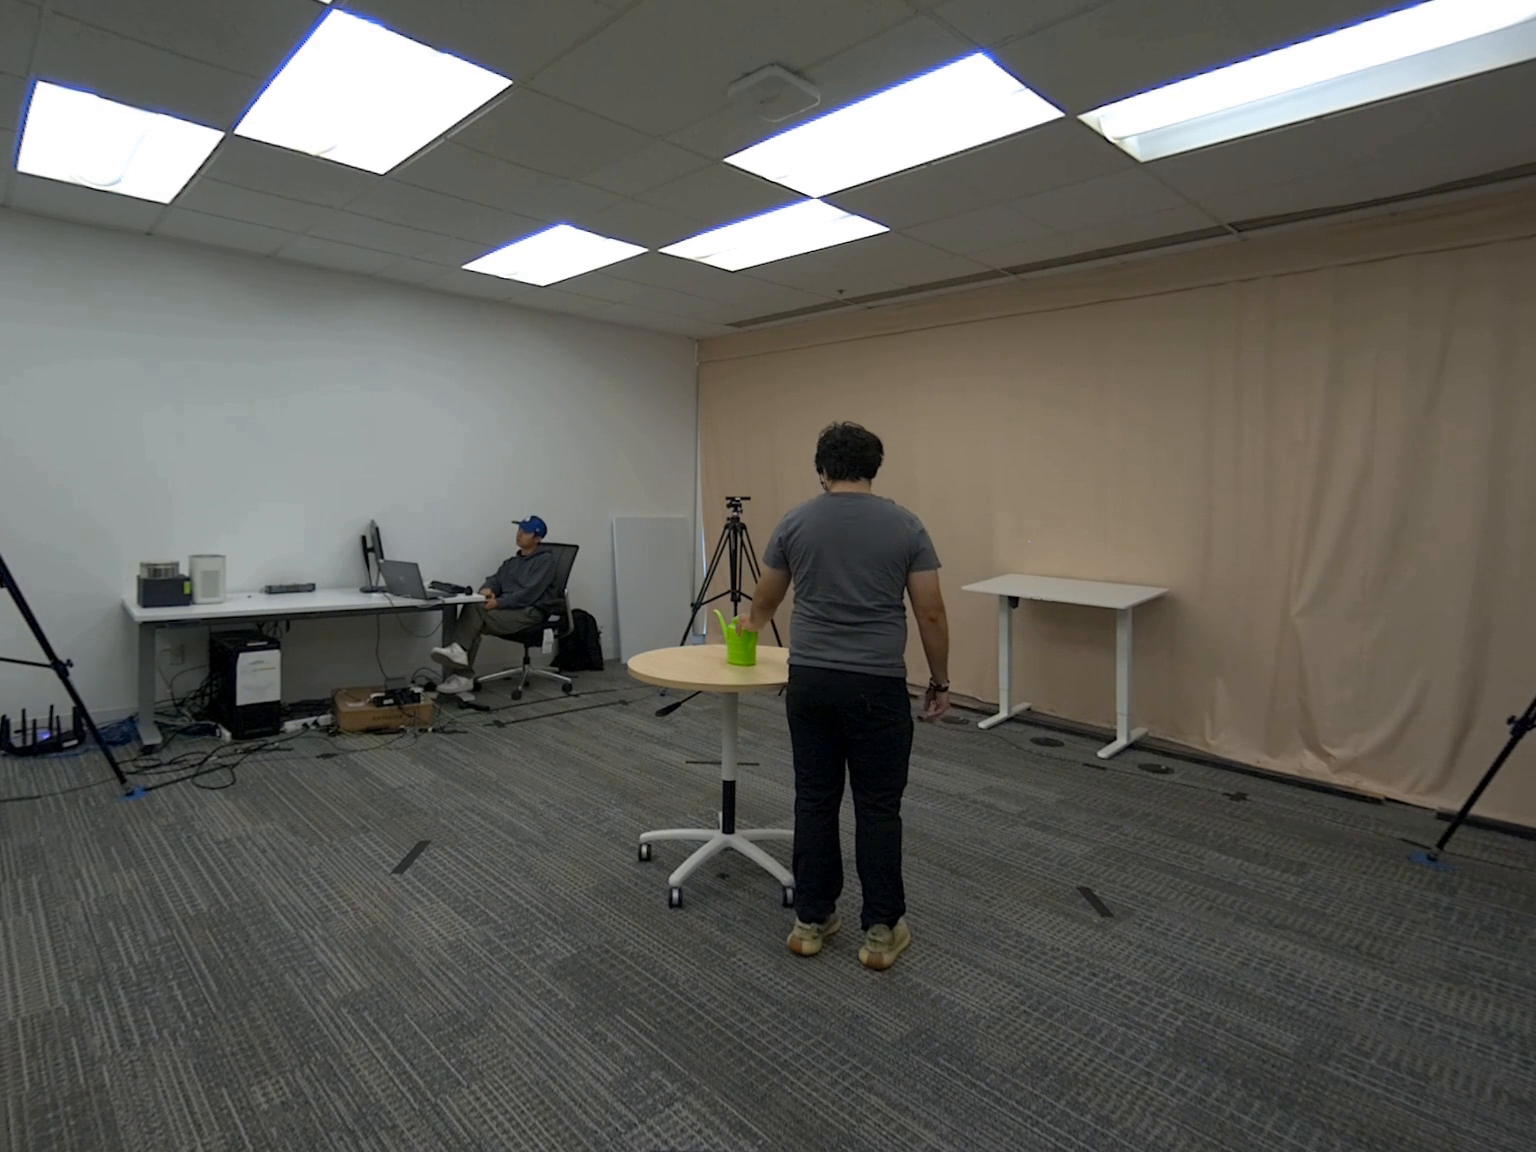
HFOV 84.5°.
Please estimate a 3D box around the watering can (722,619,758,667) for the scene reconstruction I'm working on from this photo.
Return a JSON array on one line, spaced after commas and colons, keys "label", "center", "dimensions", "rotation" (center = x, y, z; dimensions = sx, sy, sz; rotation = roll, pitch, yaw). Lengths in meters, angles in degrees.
[{"label": "watering can", "center": [-0.126, 0.234, 3.148], "dimensions": [0.096, 0.176, 0.283], "rotation": [0, 6, -21]}]
